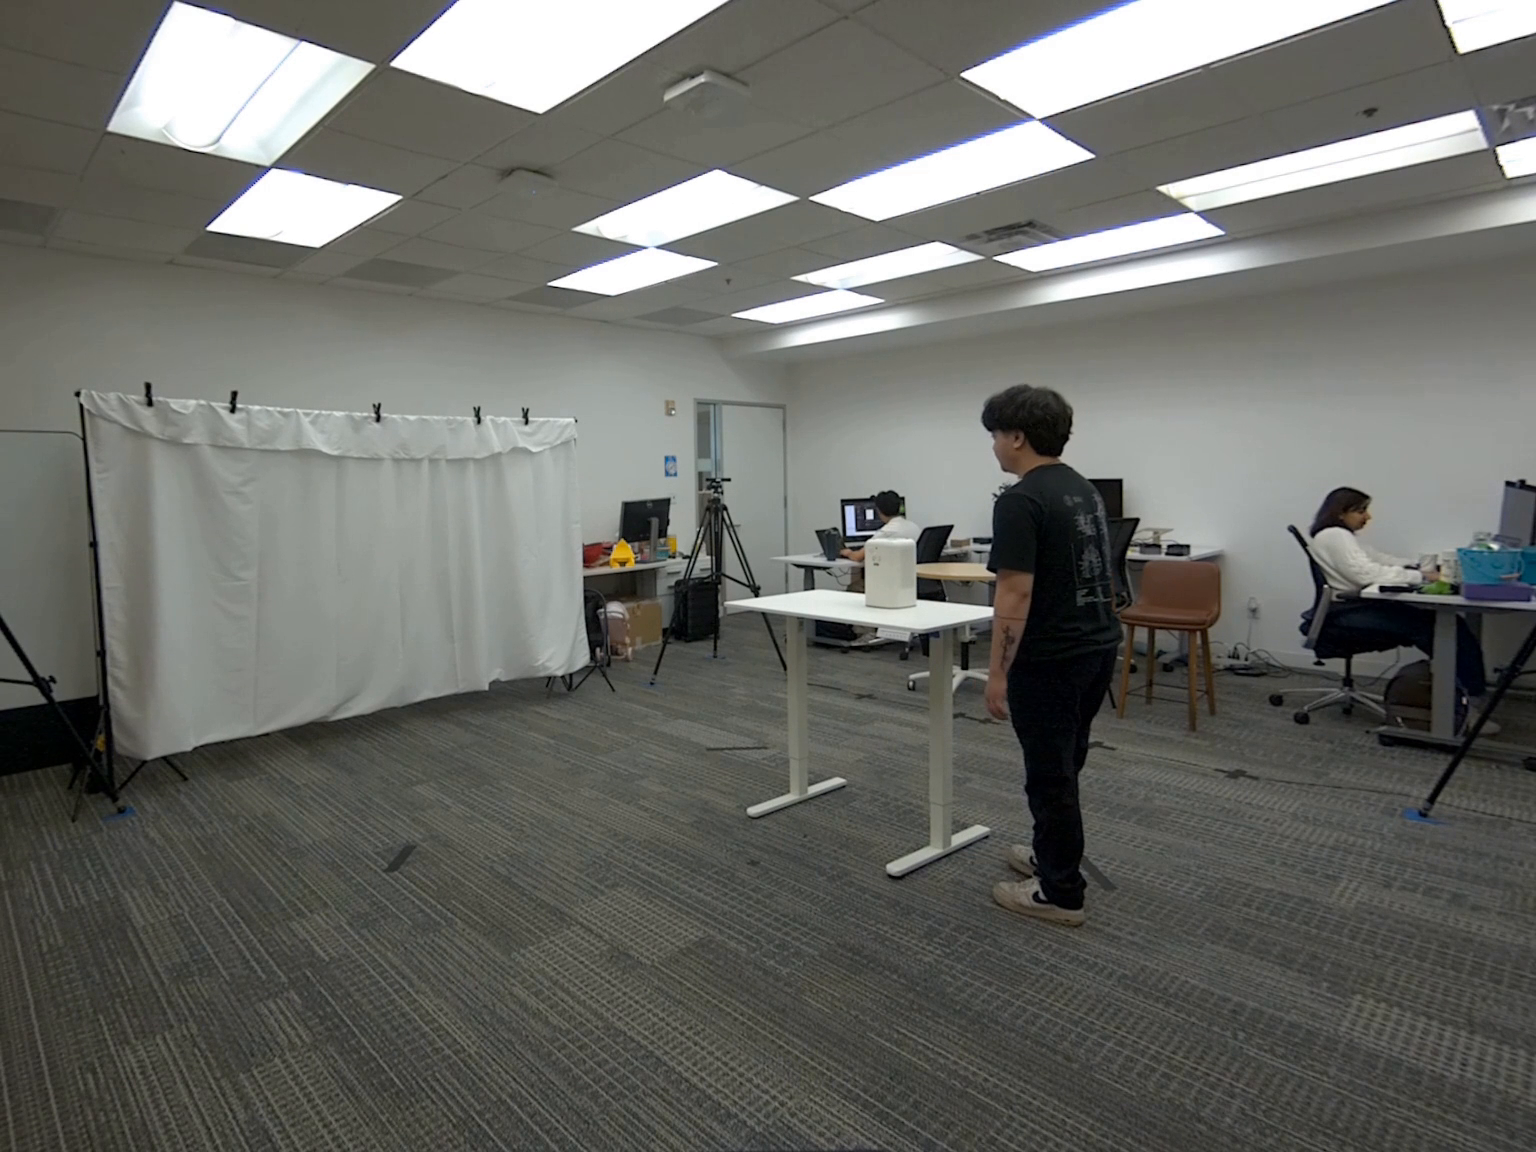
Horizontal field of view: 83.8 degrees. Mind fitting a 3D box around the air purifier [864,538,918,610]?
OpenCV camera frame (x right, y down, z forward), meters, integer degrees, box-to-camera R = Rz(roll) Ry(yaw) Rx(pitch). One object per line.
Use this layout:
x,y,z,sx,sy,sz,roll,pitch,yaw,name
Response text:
0.487,-0.016,3.380,0.167,0.264,0.176,-5,5,-42,air purifier
